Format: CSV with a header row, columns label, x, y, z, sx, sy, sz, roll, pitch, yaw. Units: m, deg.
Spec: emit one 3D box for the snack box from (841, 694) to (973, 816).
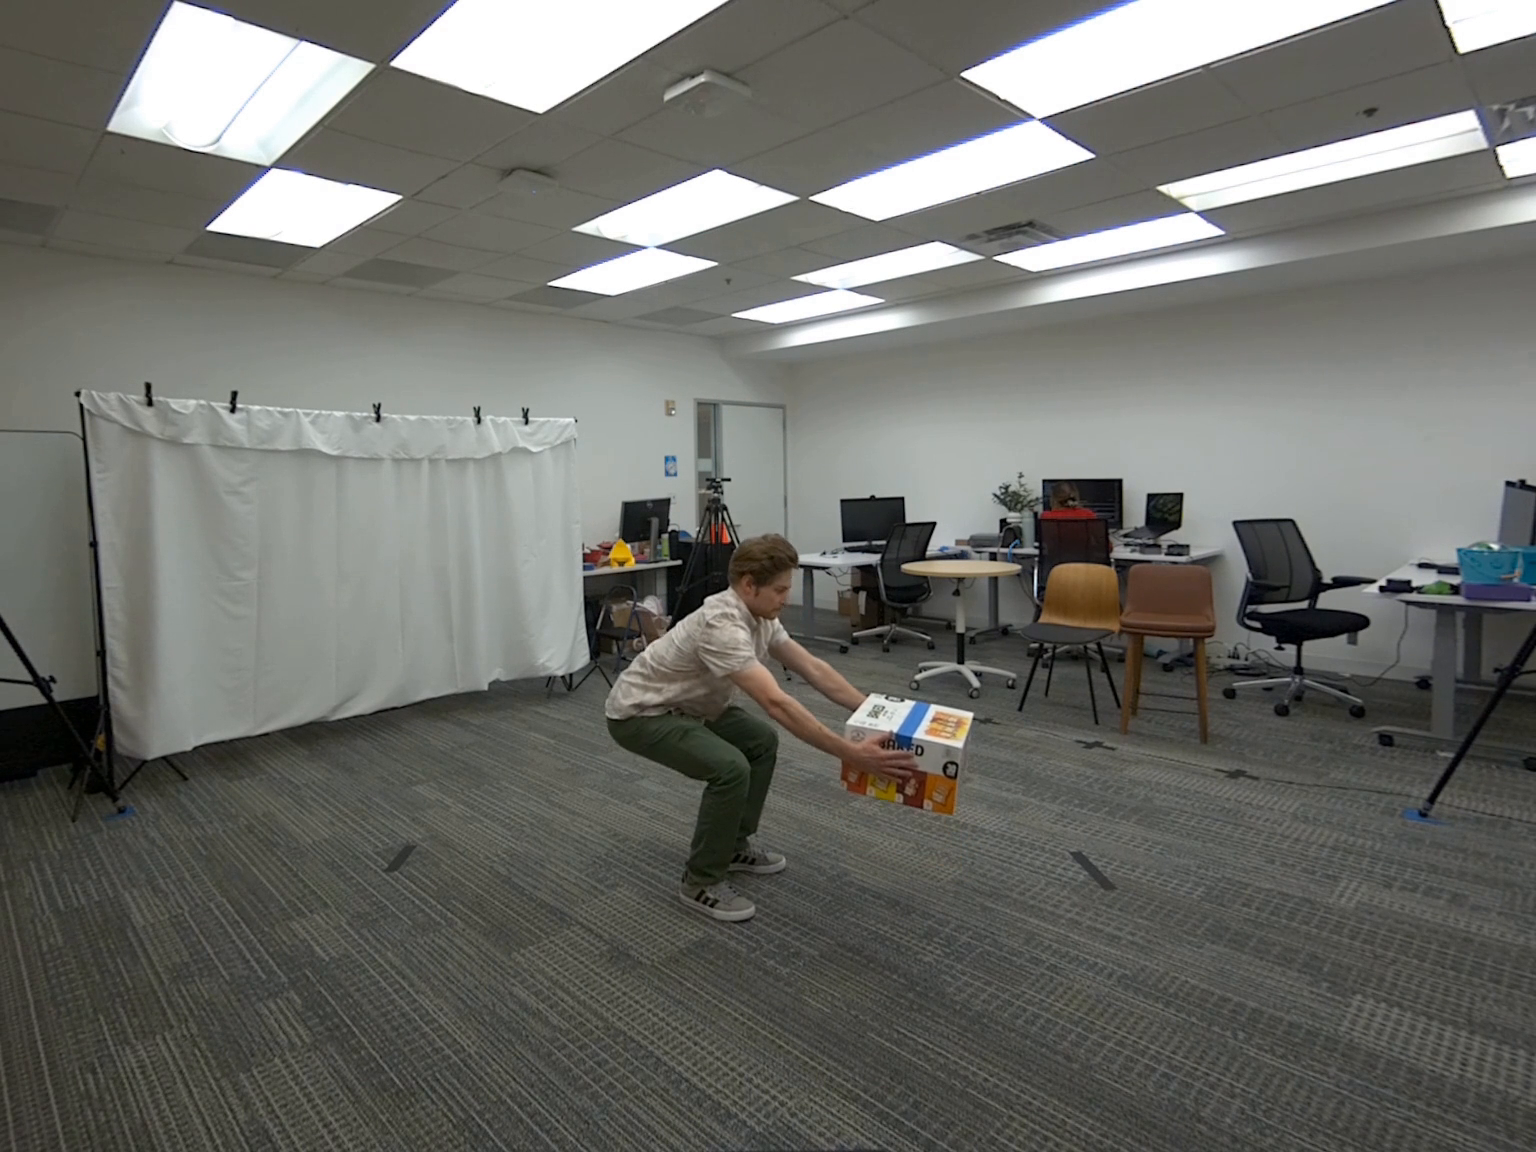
label,x,y,z,sx,sy,sz,roll,pitch,yaw
snack box,0.441,0.535,2.673,0.347,0.204,0.399,8,8,19
